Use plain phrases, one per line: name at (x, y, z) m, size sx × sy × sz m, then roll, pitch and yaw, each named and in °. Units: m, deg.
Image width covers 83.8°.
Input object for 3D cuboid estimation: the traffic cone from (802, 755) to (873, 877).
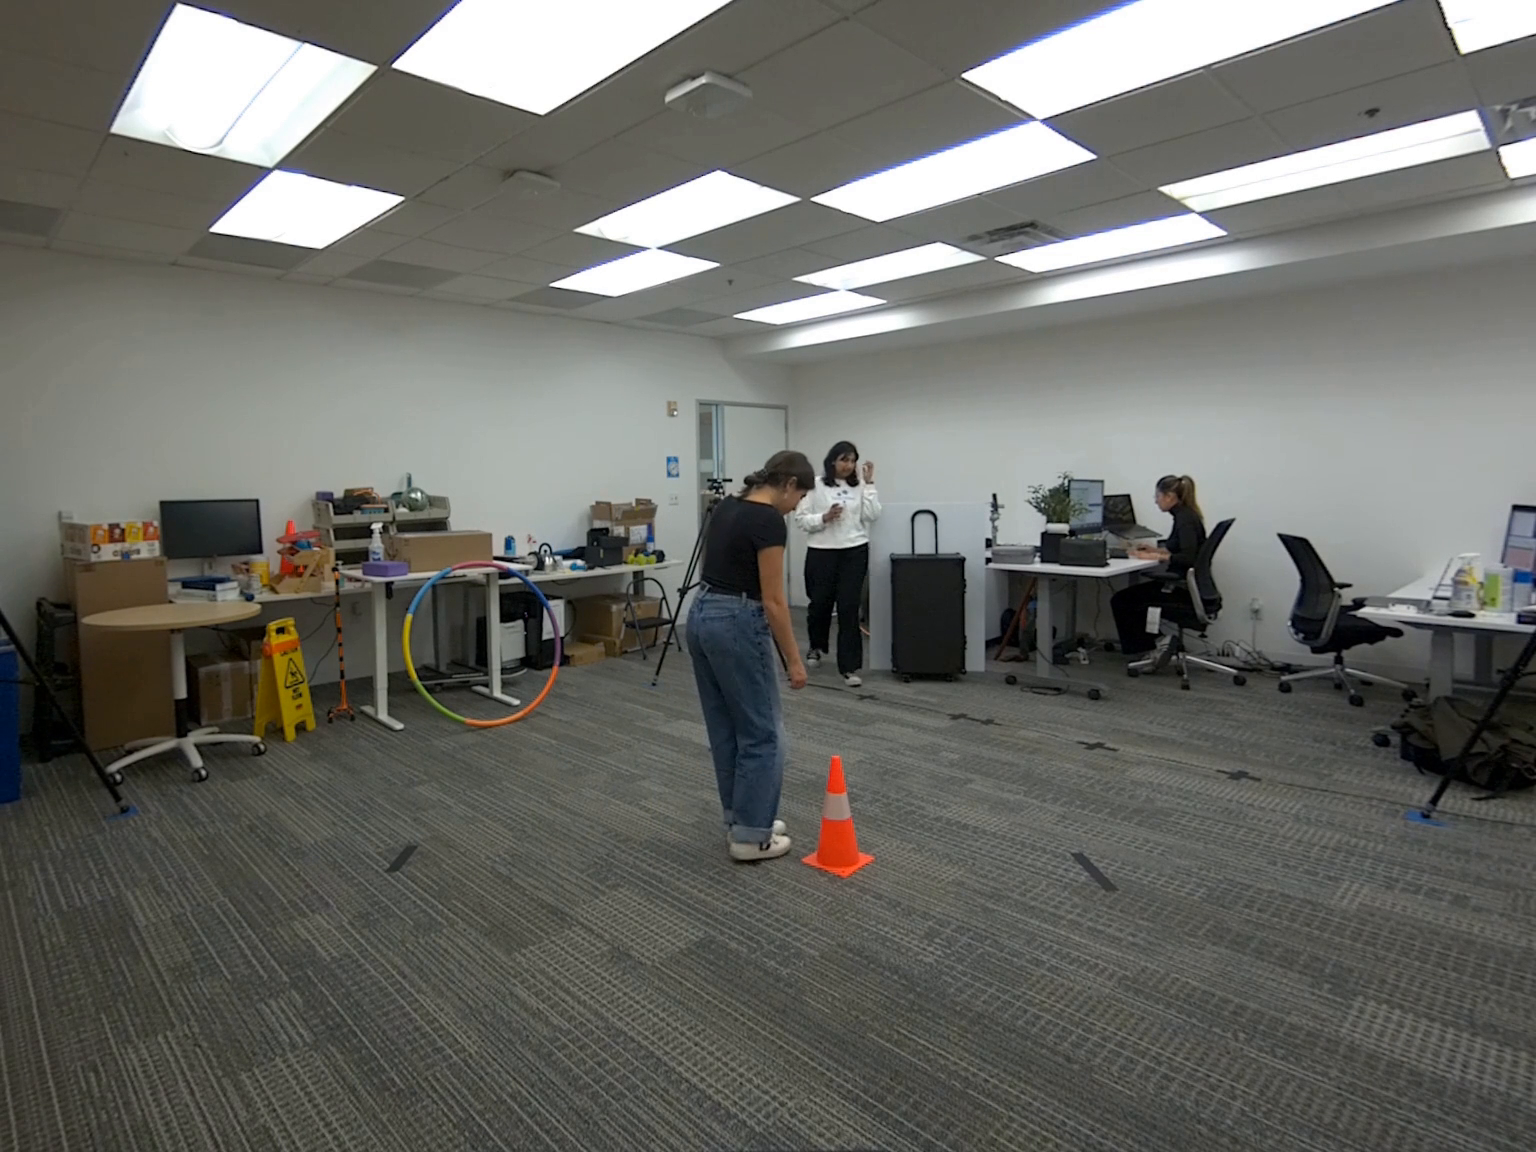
traffic cone at (0.252, 0.853, 3.114) m, size 0.211 × 0.382 × 0.198 m, roll 2°, pitch 5°, yaw 37°
